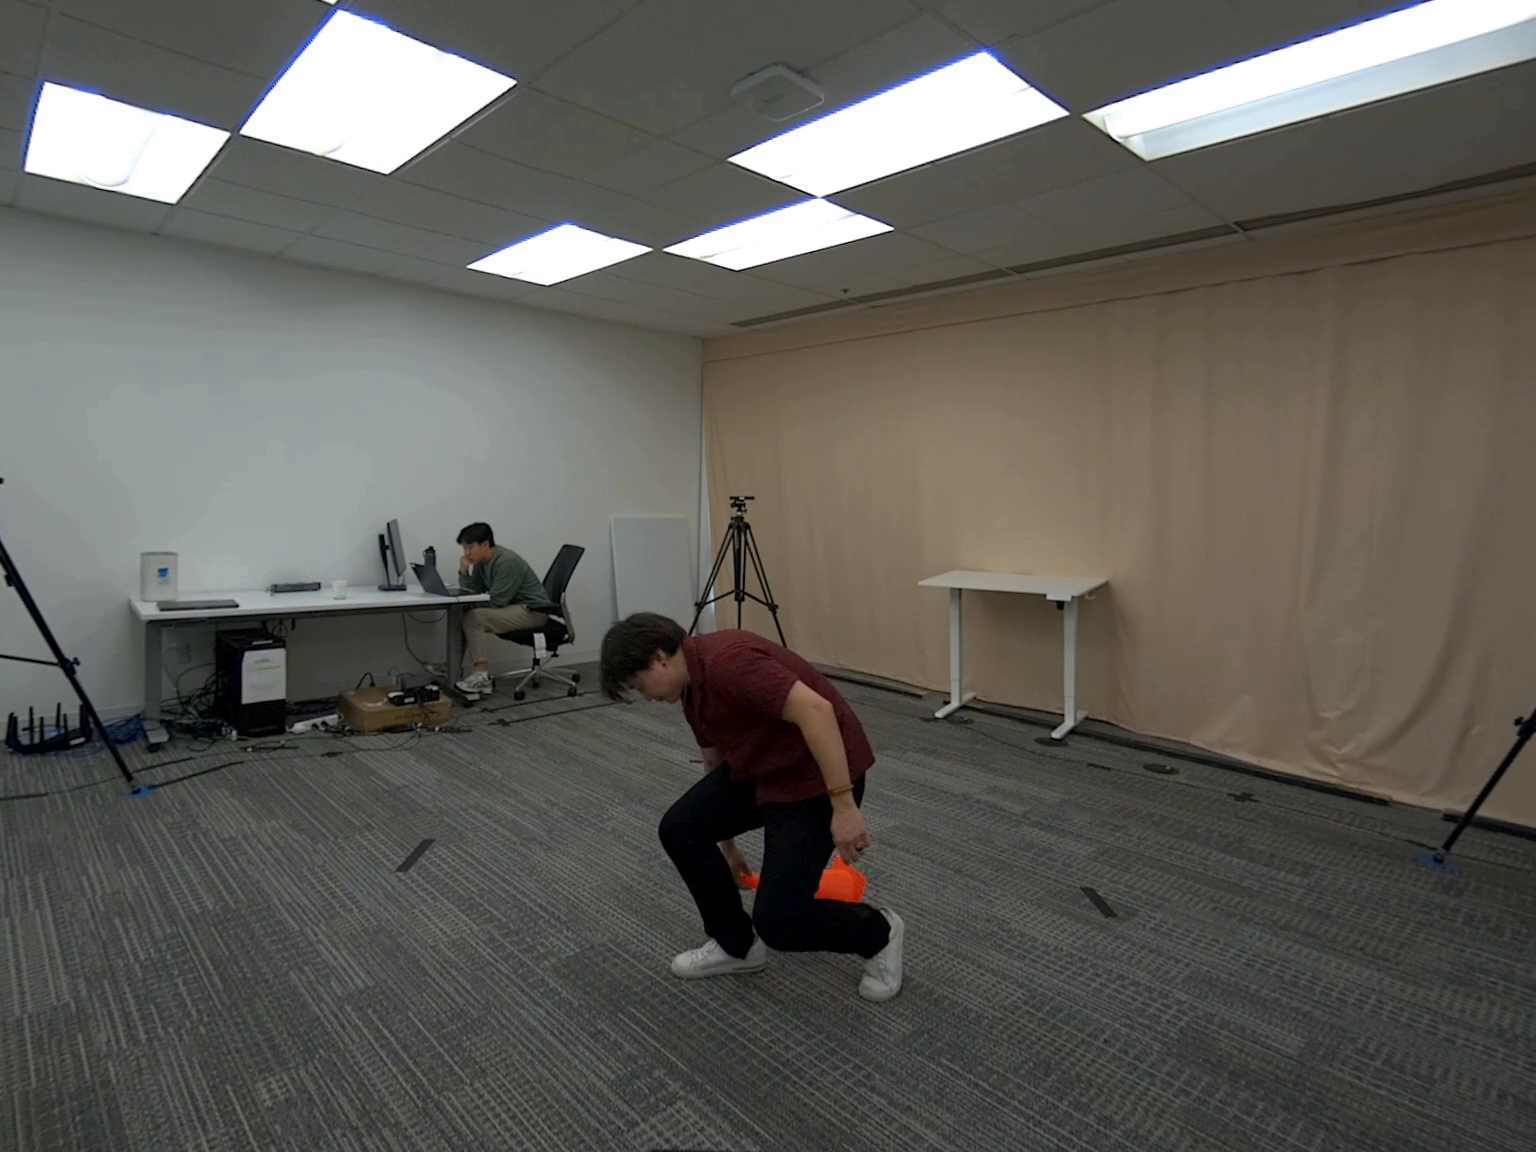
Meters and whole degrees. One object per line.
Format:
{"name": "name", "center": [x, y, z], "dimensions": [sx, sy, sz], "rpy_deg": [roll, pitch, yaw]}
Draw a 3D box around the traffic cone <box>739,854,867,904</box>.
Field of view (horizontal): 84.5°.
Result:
{"name": "traffic cone", "center": [0.085, 0.999, 2.677], "dimensions": [0.375, 0.203, 0.209], "rpy_deg": [18, -3, -25]}
